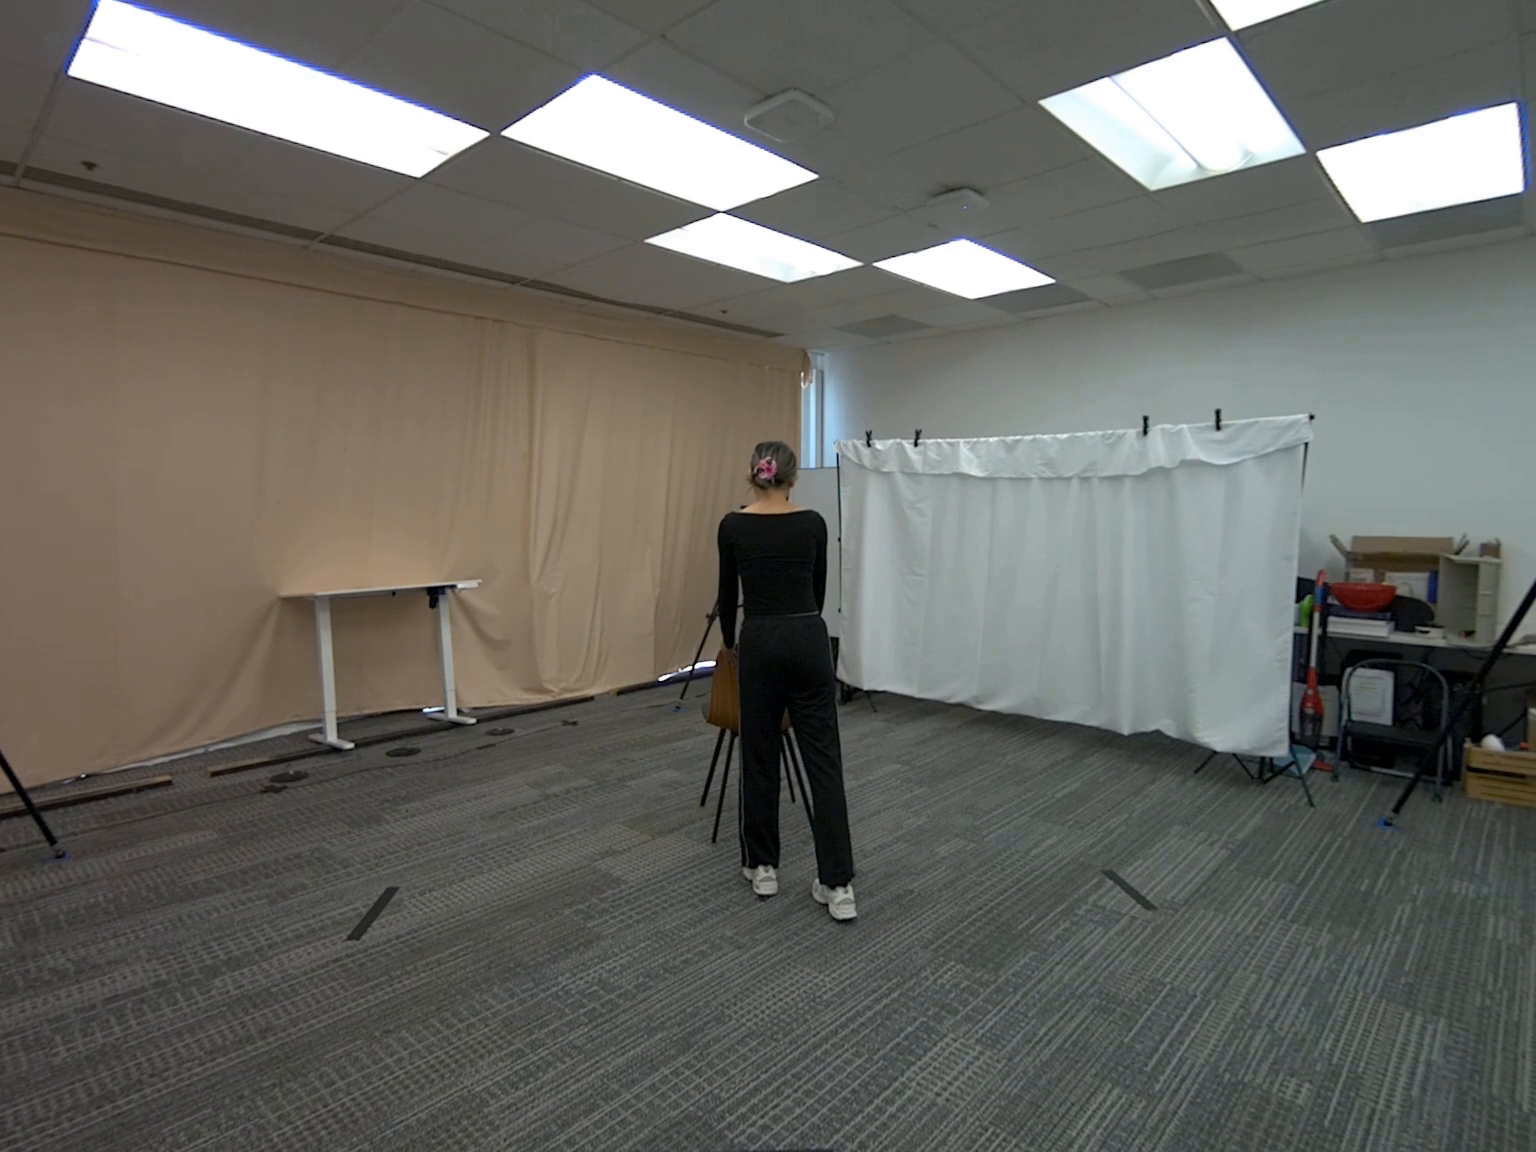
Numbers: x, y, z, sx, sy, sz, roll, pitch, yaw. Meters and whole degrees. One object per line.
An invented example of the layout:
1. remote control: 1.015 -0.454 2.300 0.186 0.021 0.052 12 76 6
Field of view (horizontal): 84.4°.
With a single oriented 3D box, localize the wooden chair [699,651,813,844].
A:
1. wooden chair: -0.058 0.654 3.701 0.474 0.873 0.530 -1 8 -9
